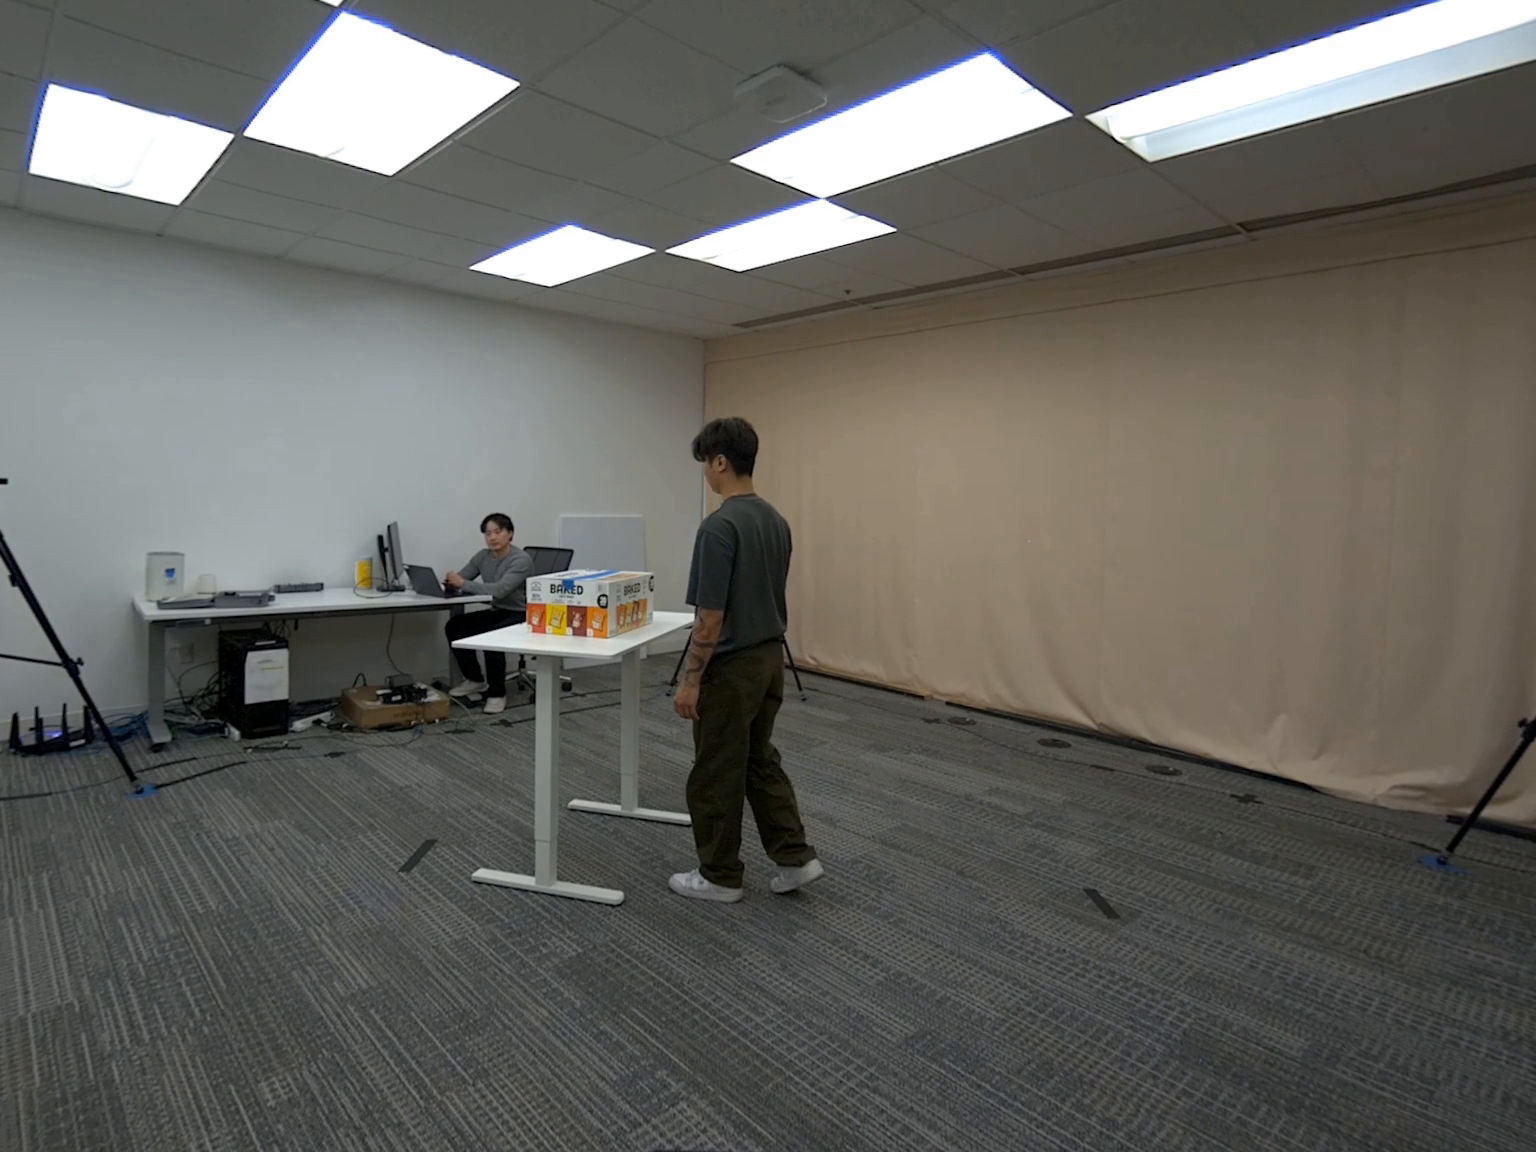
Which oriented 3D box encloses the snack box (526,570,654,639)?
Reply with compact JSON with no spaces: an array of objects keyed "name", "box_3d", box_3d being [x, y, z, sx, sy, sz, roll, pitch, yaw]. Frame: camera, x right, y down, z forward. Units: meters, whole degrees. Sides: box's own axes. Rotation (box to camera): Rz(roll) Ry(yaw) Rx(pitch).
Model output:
[{"name":"snack box","box_3d":[-0.683,0.098,3.246,0.345,0.205,0.401,4,6,16]}]
